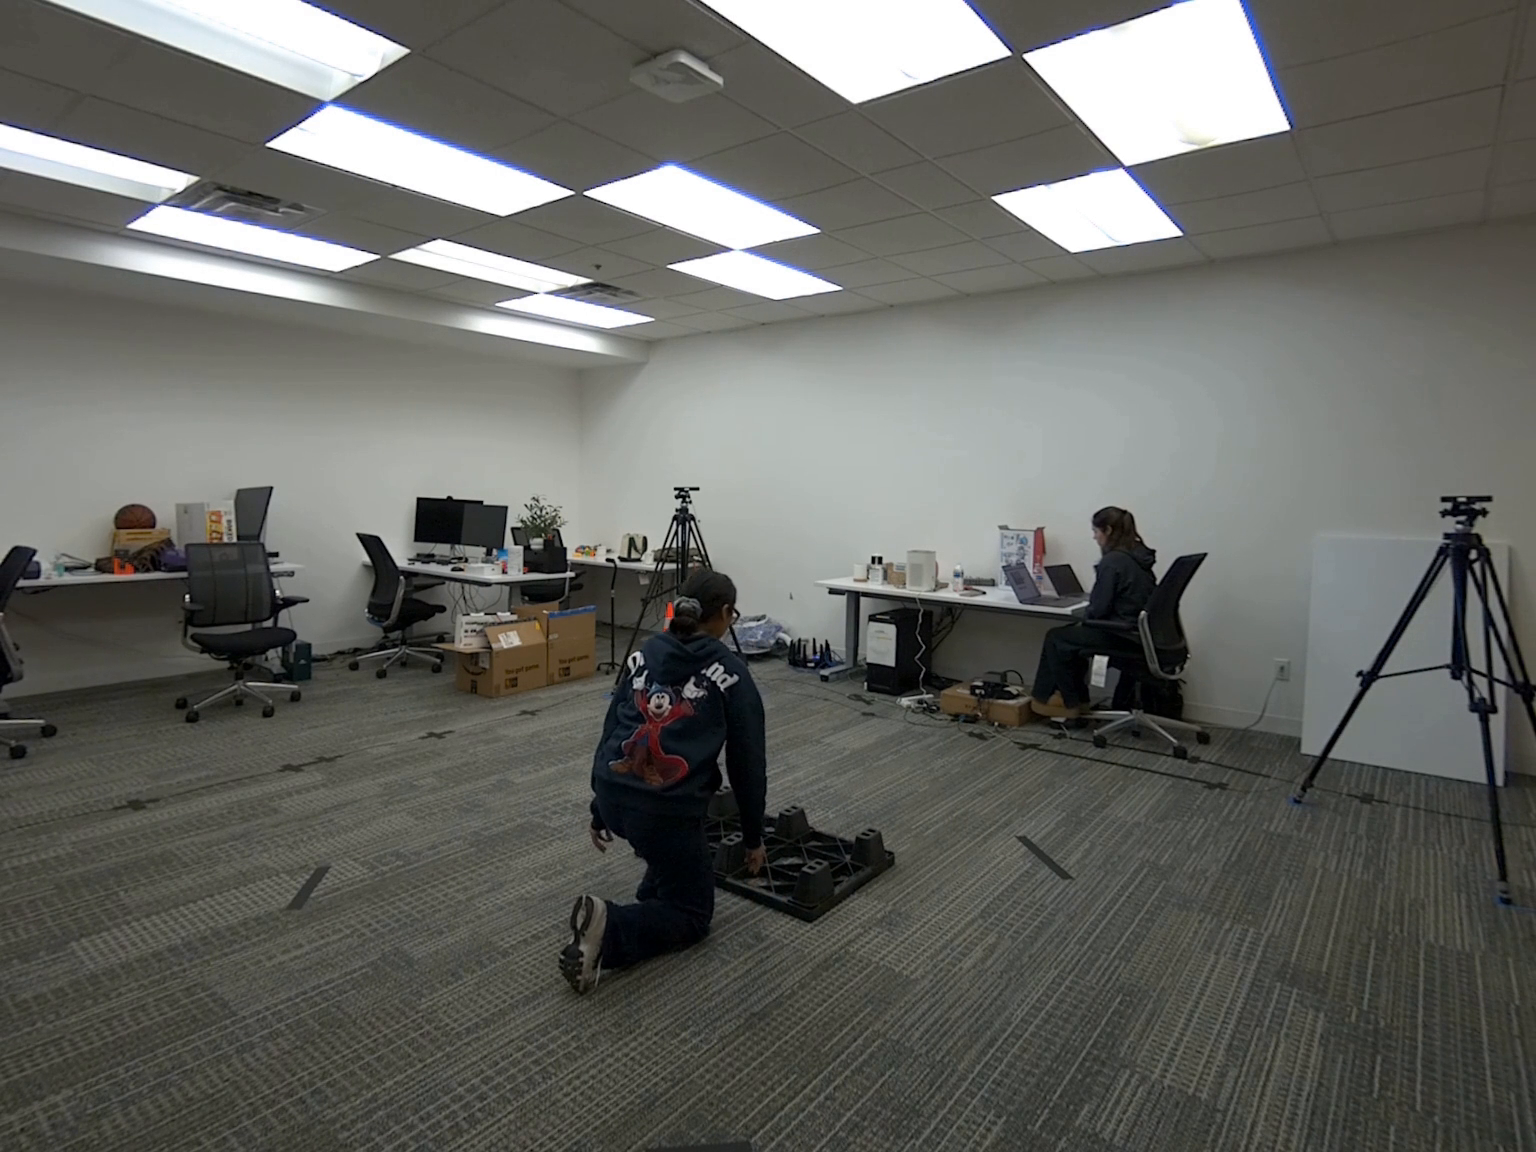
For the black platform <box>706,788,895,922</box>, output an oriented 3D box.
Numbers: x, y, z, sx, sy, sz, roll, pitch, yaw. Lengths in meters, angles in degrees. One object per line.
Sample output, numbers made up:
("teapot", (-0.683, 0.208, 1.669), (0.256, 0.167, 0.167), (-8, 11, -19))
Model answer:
("black platform", (-0.019, 0.996, 3.201), (0.832, 0.143, 0.588), (5, 8, 37))
